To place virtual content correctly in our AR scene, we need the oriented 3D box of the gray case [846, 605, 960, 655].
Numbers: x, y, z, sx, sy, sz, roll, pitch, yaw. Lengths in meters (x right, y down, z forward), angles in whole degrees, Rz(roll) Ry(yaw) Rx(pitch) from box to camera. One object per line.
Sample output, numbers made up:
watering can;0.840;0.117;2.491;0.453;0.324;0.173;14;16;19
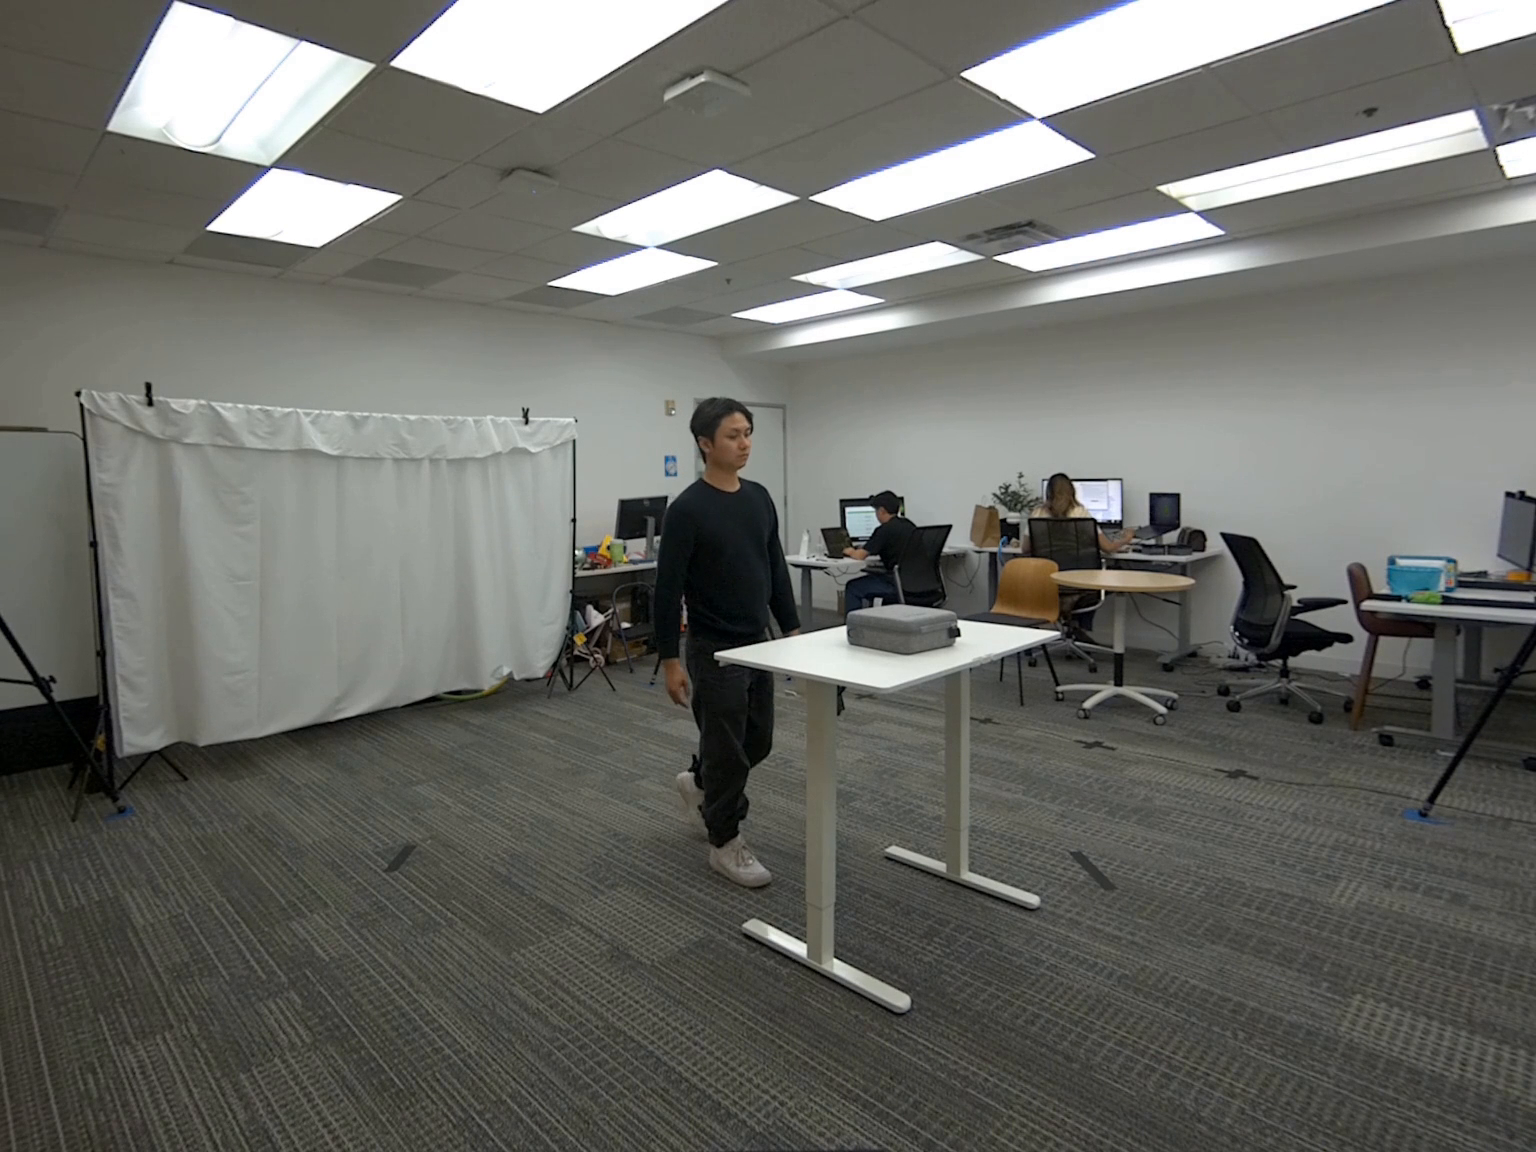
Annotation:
gray case;0.410;0.159;2.593;0.250;0.104;0.268;-6;7;-37
